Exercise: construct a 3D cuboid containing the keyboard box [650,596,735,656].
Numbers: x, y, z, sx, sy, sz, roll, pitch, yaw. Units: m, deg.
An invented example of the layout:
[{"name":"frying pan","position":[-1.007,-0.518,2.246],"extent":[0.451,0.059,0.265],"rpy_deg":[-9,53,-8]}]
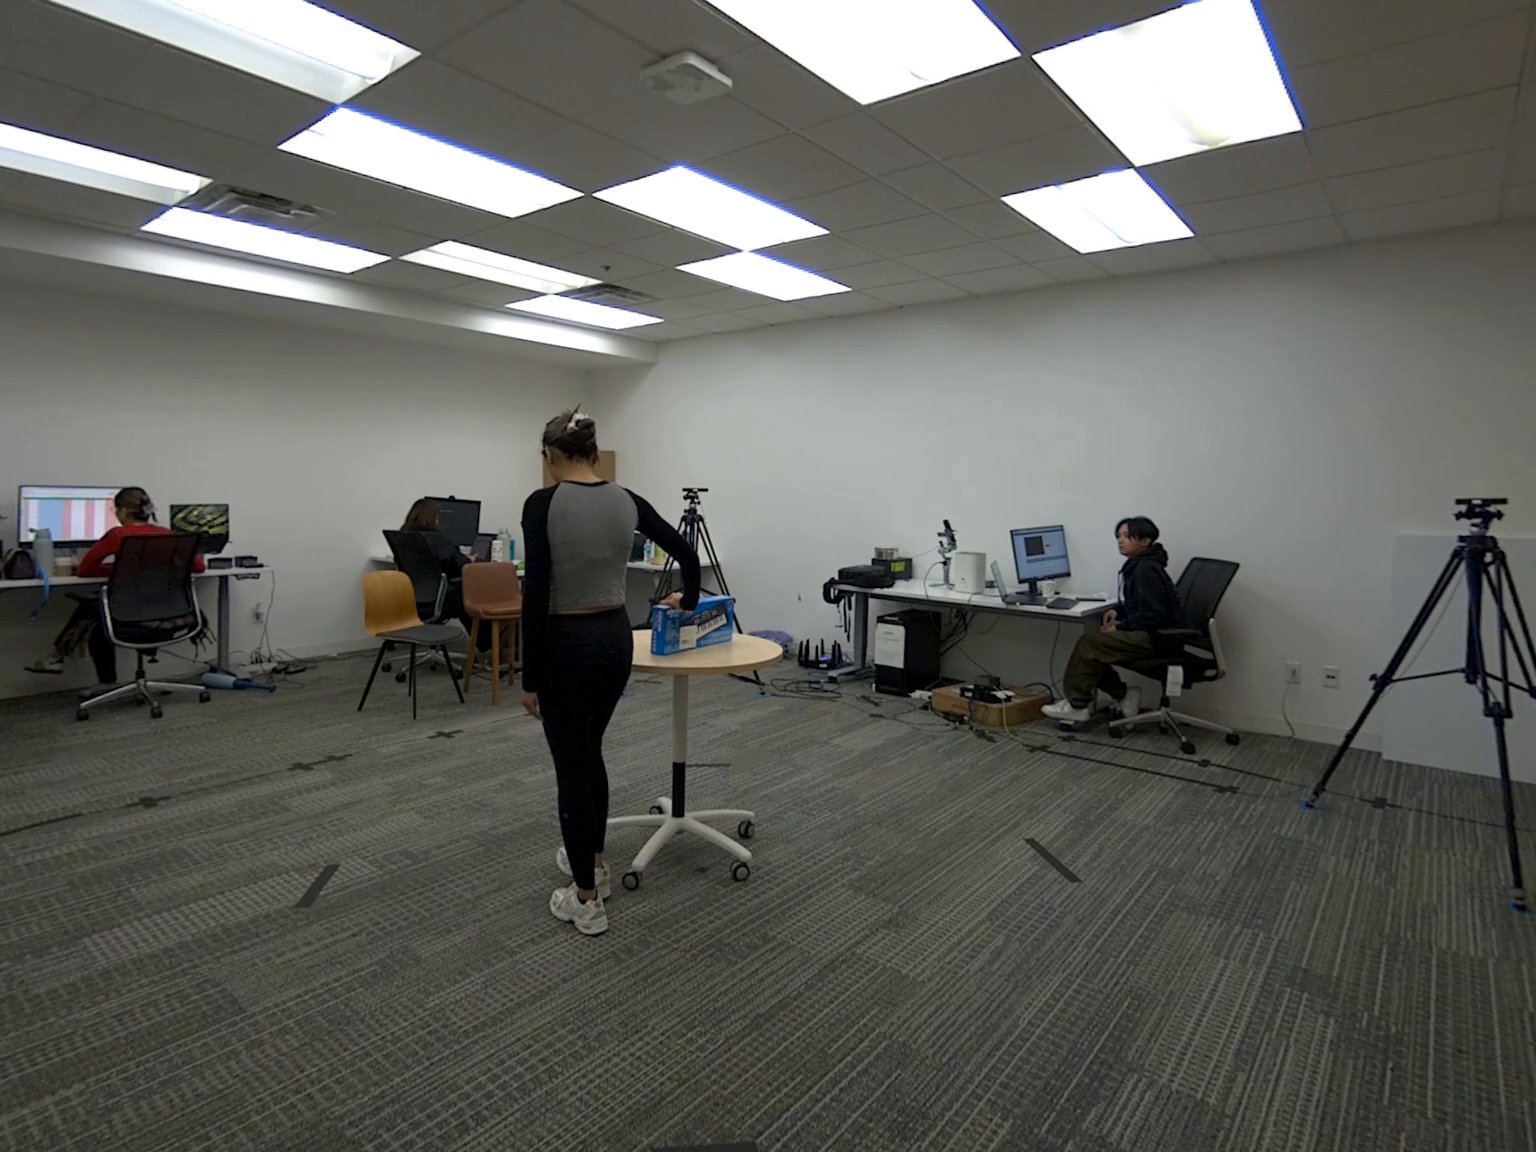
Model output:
[{"name":"keyboard box","position":[-0.288,0.180,3.208],"extent":[0.061,0.175,0.425],"rpy_deg":[5,7,33]}]
